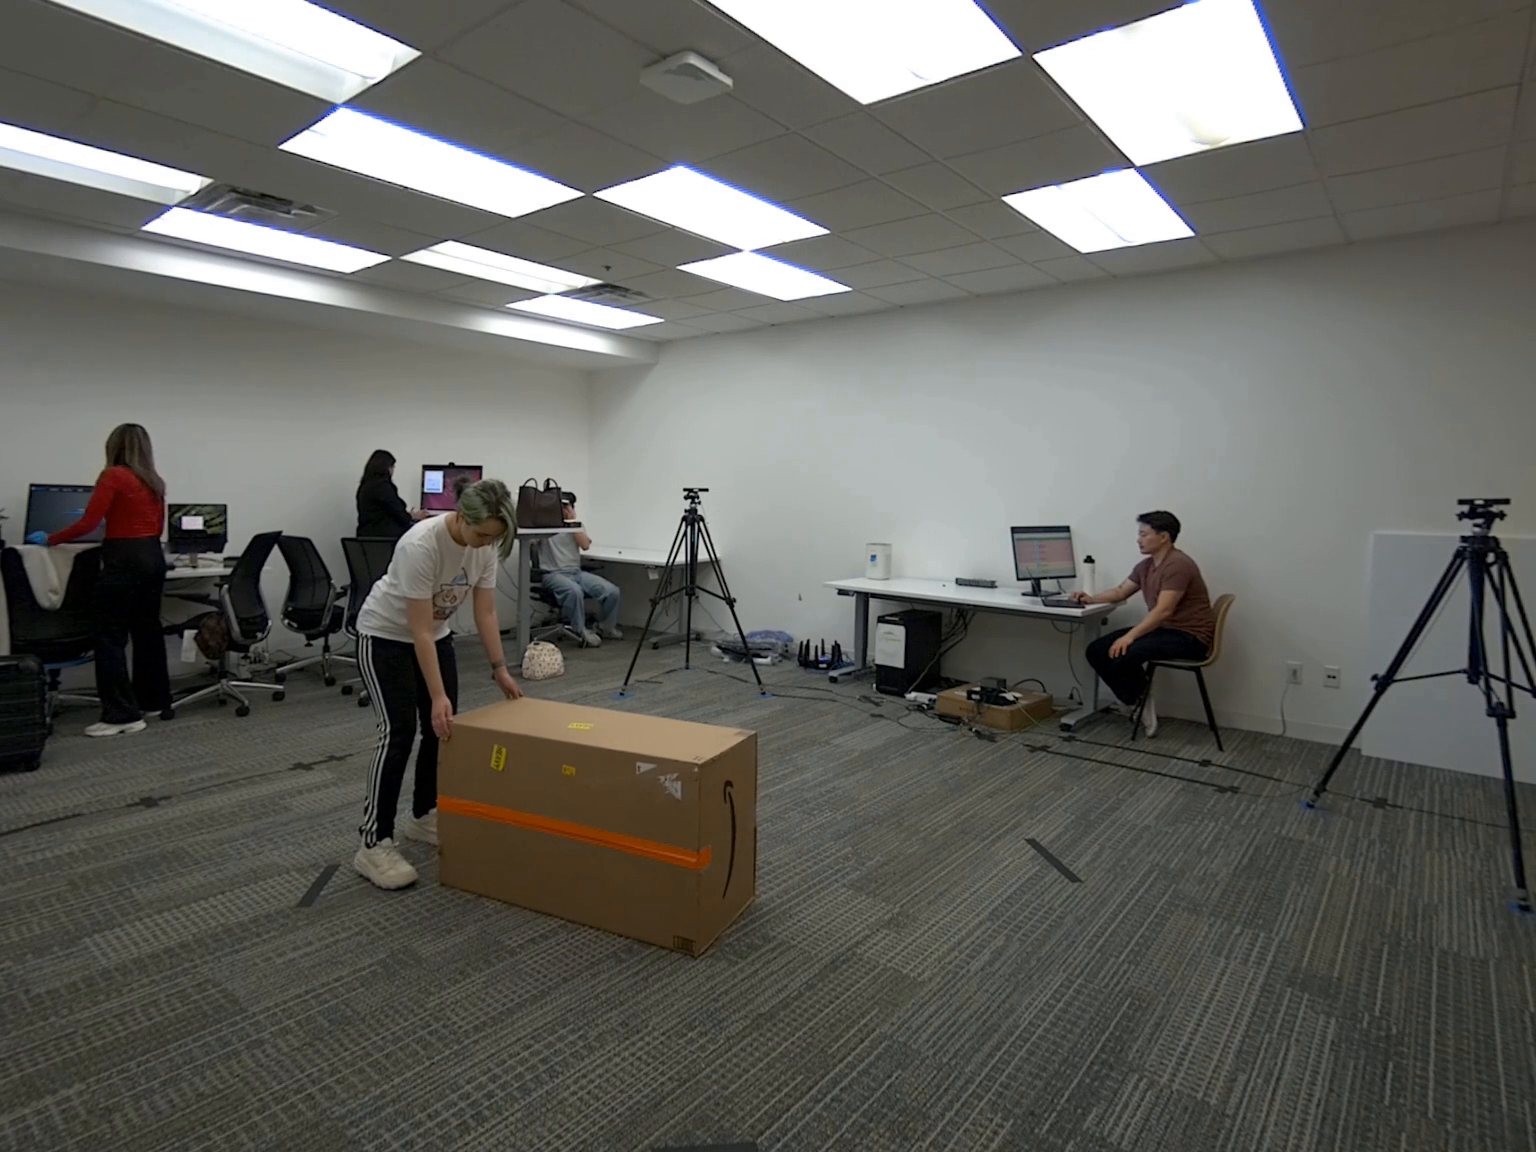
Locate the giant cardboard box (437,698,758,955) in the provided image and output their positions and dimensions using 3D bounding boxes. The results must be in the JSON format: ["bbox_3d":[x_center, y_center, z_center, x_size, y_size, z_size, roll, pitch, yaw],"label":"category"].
[{"bbox_3d":[-0.601,0.796,2.907,1.053,0.582,0.437,3,4,24],"label":"giant cardboard box"}]
